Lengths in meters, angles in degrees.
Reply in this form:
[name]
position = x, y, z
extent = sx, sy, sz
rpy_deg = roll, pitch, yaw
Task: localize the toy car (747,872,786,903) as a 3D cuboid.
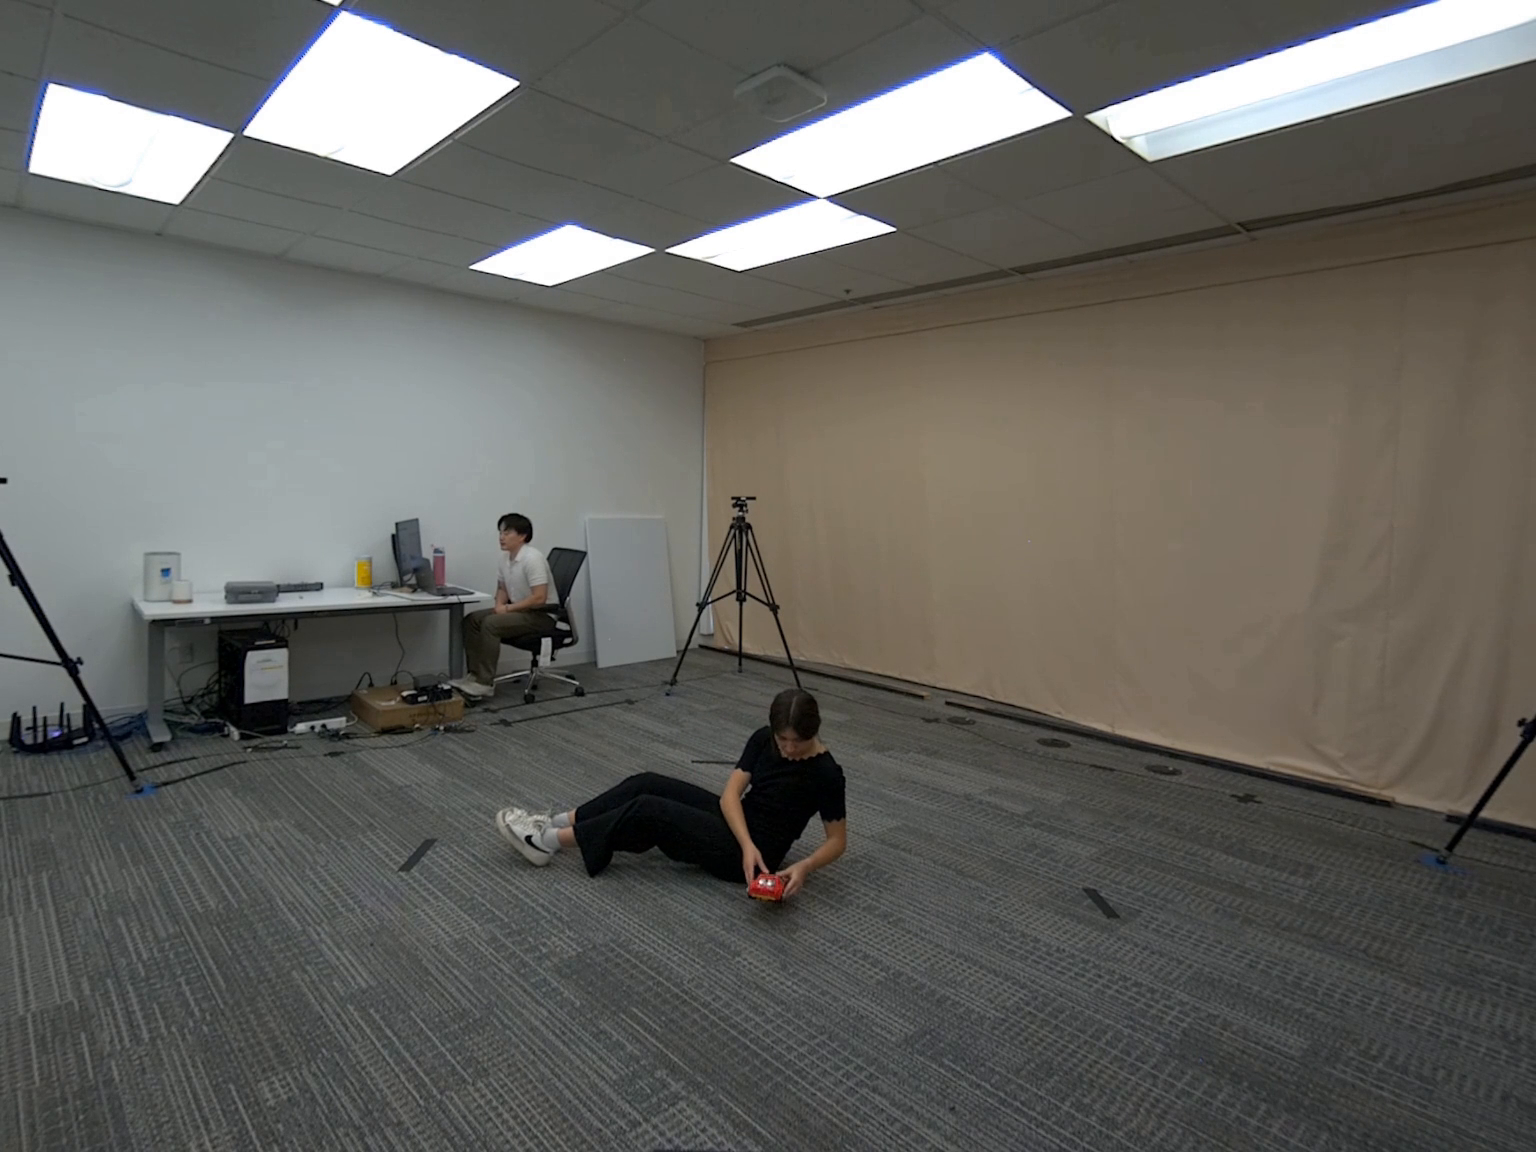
[toy car]
position = -0.011, 1.048, 2.831
extent = 0.131, 0.084, 0.249
rpy_deg = 5, -19, 8
